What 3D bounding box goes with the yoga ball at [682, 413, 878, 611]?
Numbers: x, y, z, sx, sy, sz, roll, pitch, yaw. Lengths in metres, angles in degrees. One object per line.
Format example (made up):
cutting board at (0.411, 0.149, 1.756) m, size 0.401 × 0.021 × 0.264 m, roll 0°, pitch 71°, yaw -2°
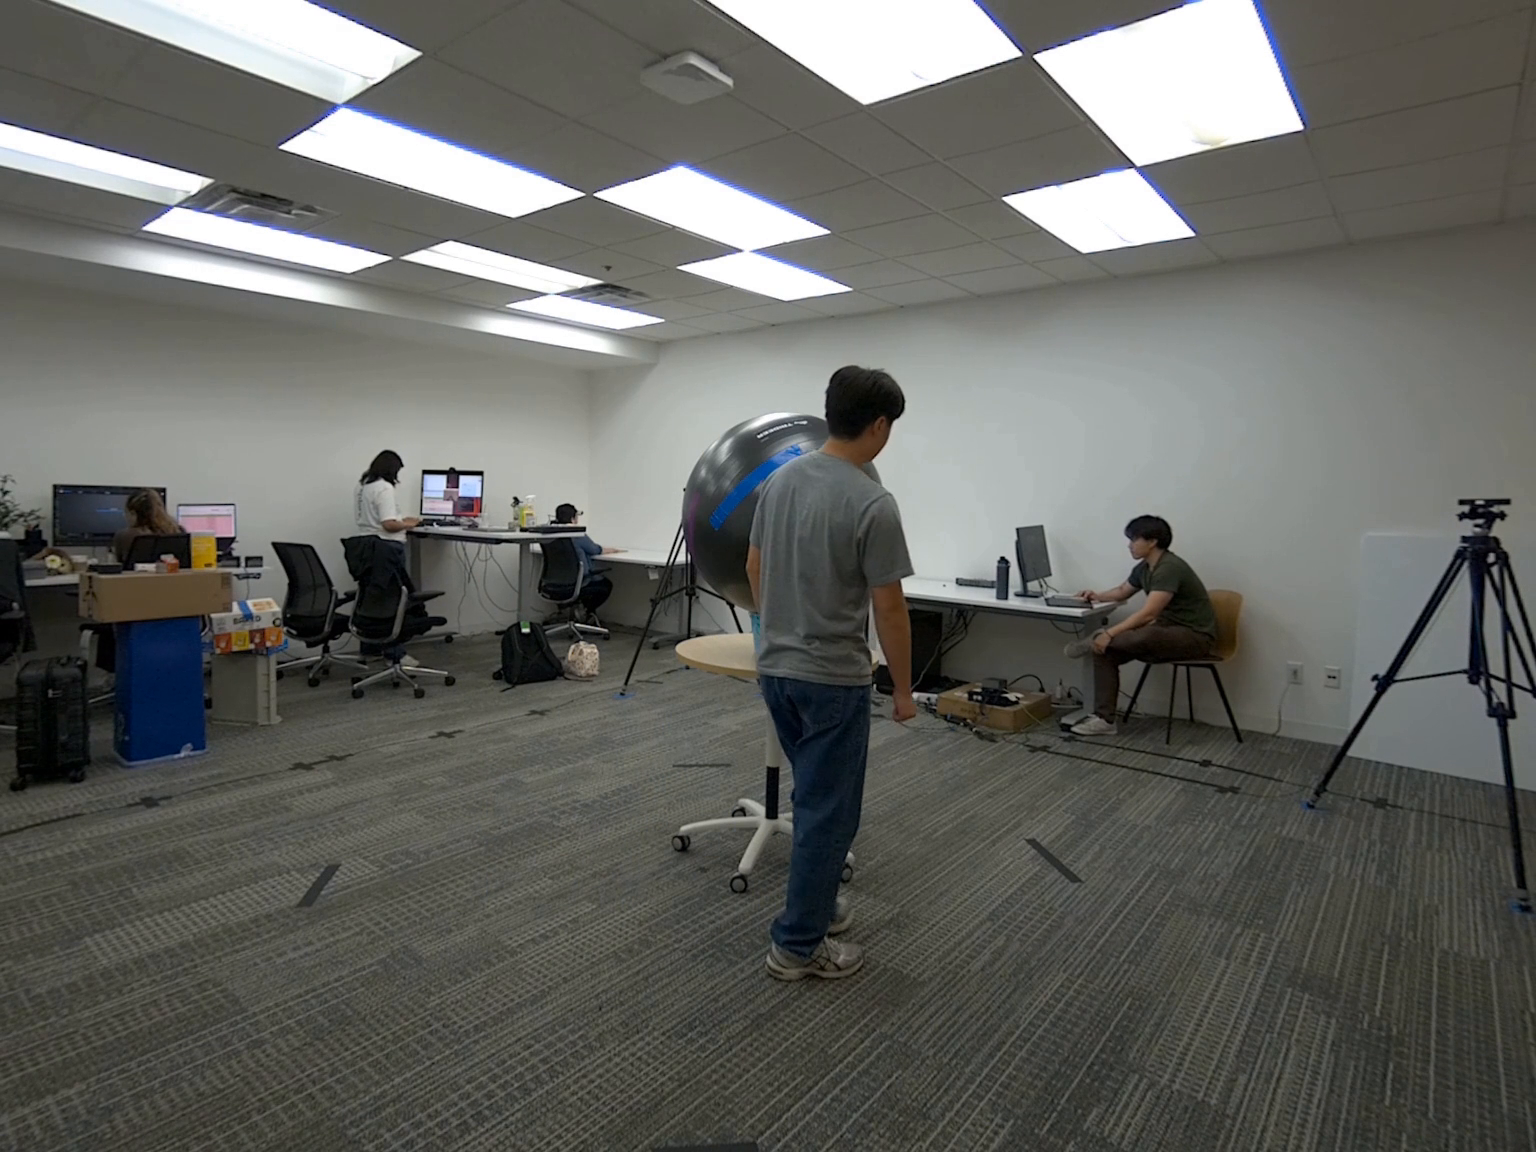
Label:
yoga ball at (0.043, -0.227, 3.182) m, size 0.757 × 0.755 × 0.762 m, roll 1°, pitch 4°, yaw -2°
